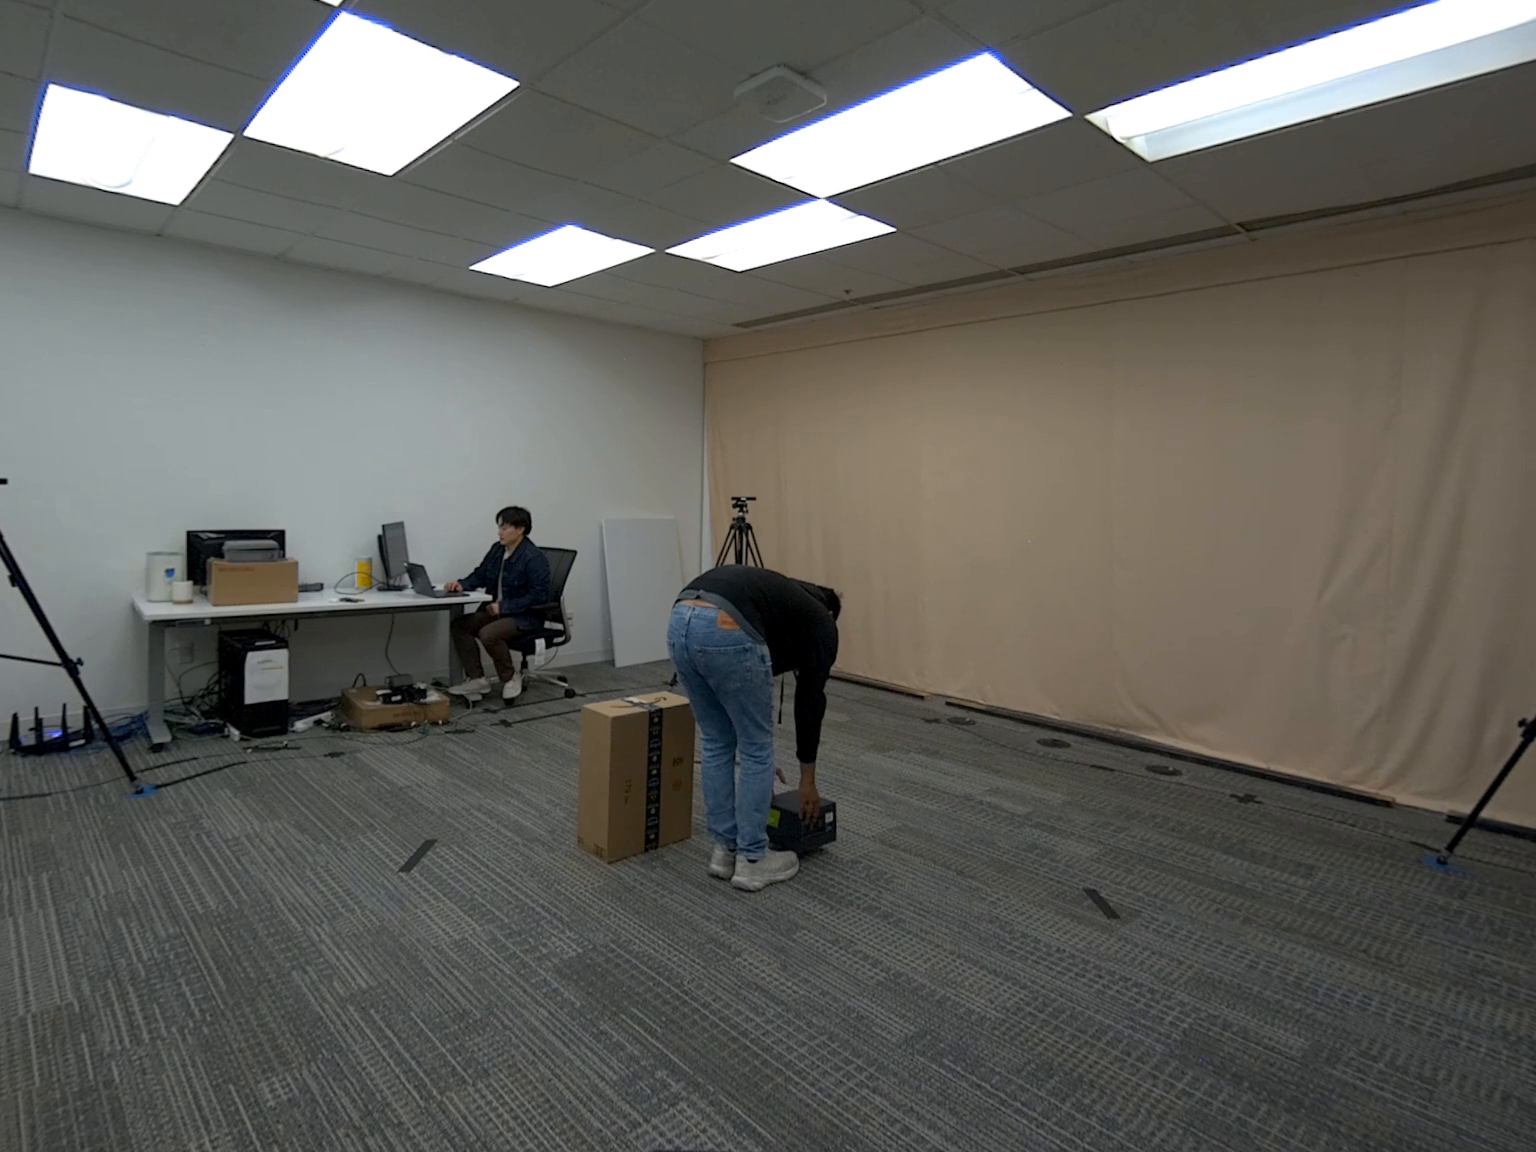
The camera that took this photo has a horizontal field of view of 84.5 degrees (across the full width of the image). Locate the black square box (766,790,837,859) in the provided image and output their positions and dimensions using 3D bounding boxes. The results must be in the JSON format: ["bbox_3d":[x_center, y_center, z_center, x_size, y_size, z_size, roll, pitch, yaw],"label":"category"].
[{"bbox_3d":[0.107,0.954,3.347,0.212,0.156,0.233,-3,3,-40],"label":"black square box"}]
